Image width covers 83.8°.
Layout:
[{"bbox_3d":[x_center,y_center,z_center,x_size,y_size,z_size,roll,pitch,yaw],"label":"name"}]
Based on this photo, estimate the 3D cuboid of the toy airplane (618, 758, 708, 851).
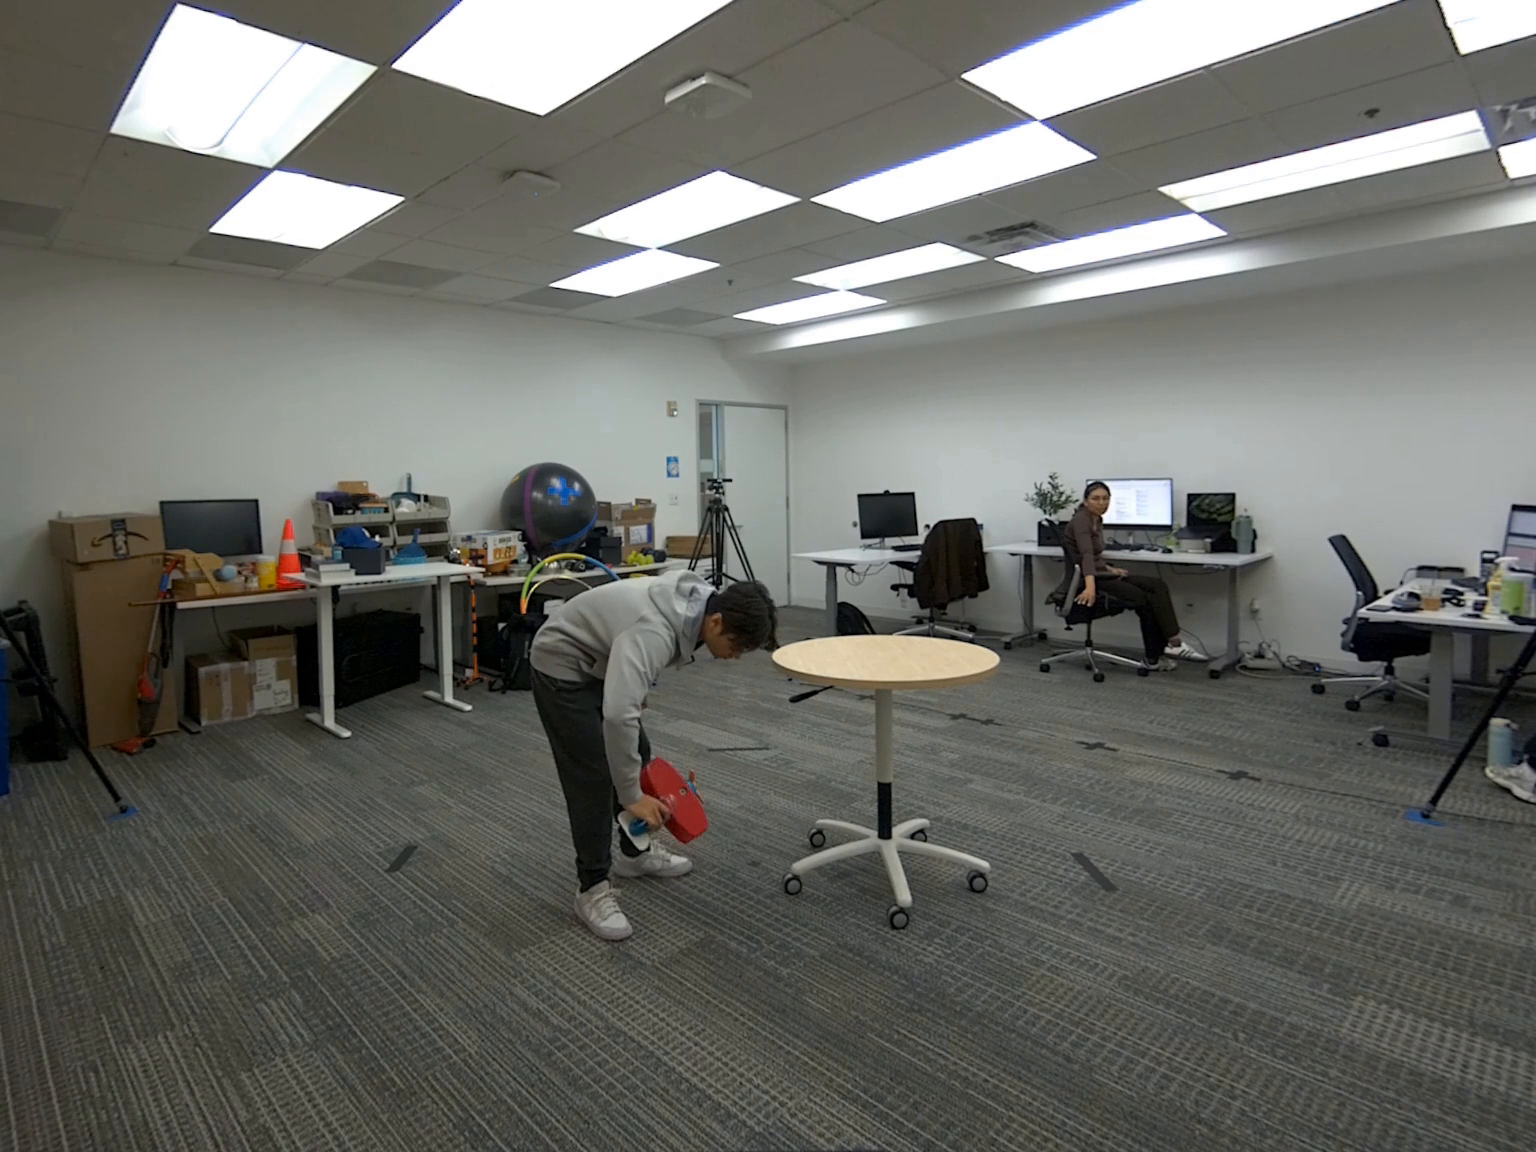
[{"bbox_3d":[-0.293,0.699,2.524,0.247,0.156,0.263,35,37,-12],"label":"toy airplane"}]
